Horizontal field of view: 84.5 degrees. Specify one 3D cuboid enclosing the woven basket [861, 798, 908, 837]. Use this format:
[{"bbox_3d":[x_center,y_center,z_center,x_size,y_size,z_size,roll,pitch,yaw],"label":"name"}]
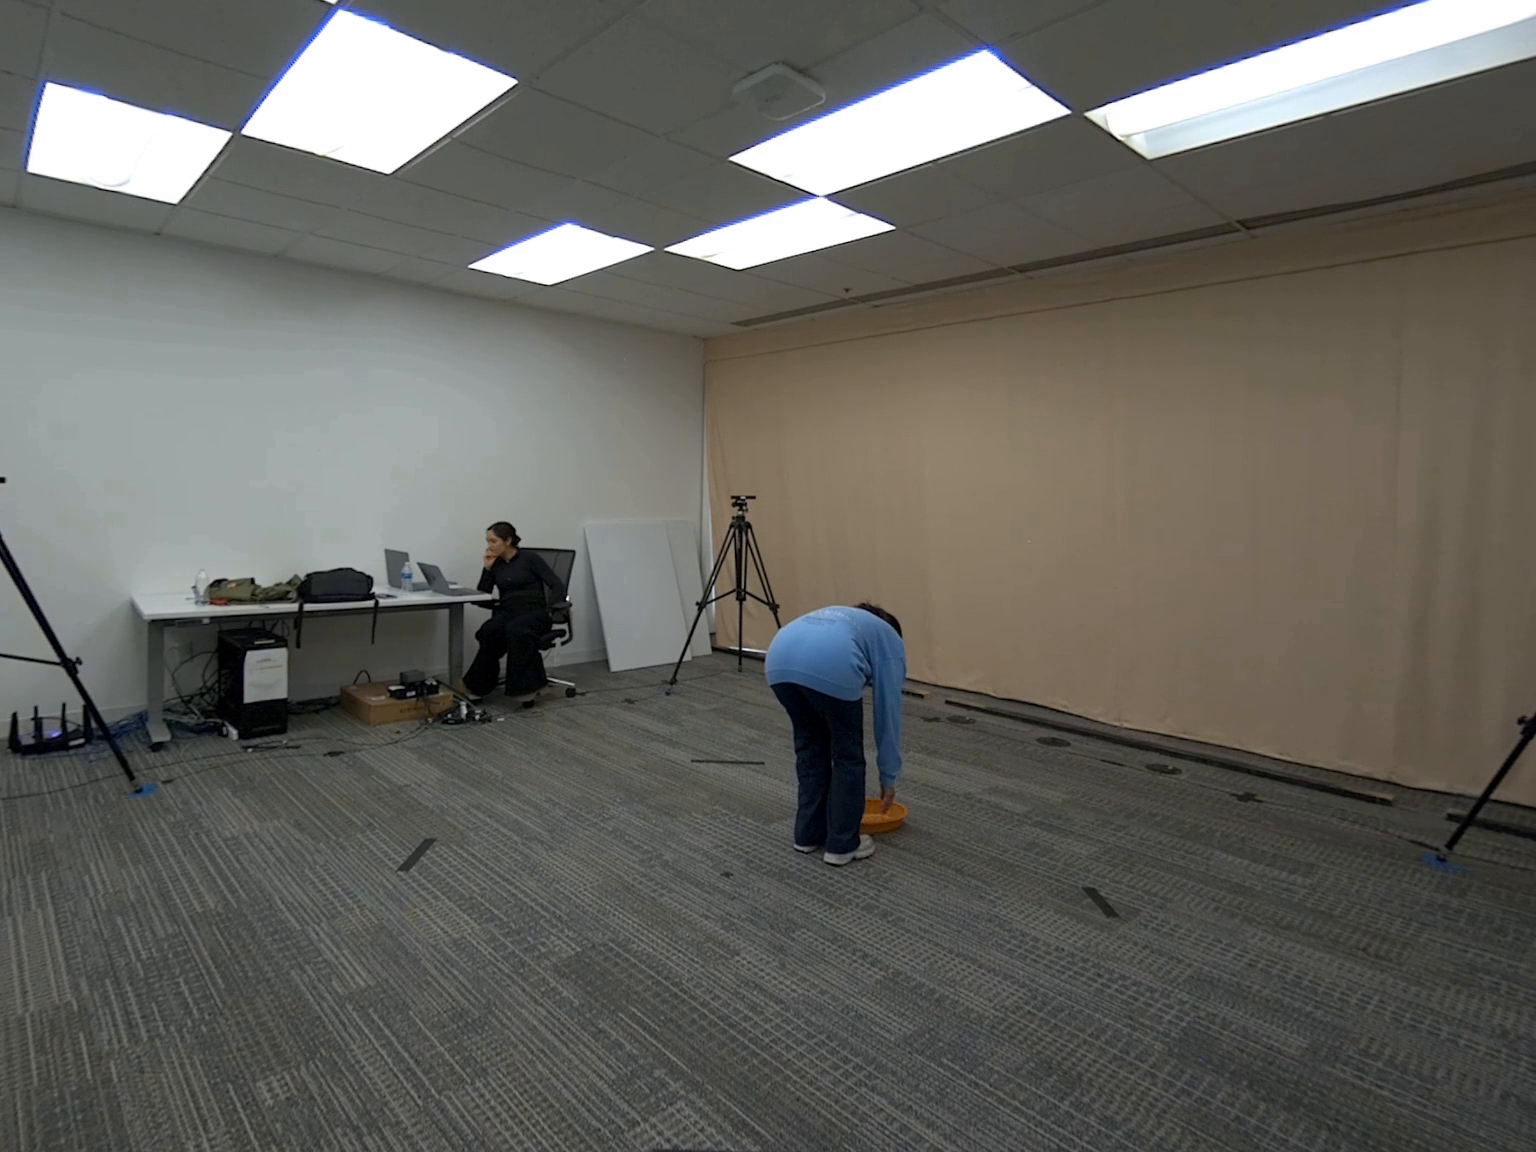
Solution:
[{"bbox_3d":[0.421,1.026,3.600,0.344,0.073,0.258,-1,7,-24],"label":"woven basket"}]
